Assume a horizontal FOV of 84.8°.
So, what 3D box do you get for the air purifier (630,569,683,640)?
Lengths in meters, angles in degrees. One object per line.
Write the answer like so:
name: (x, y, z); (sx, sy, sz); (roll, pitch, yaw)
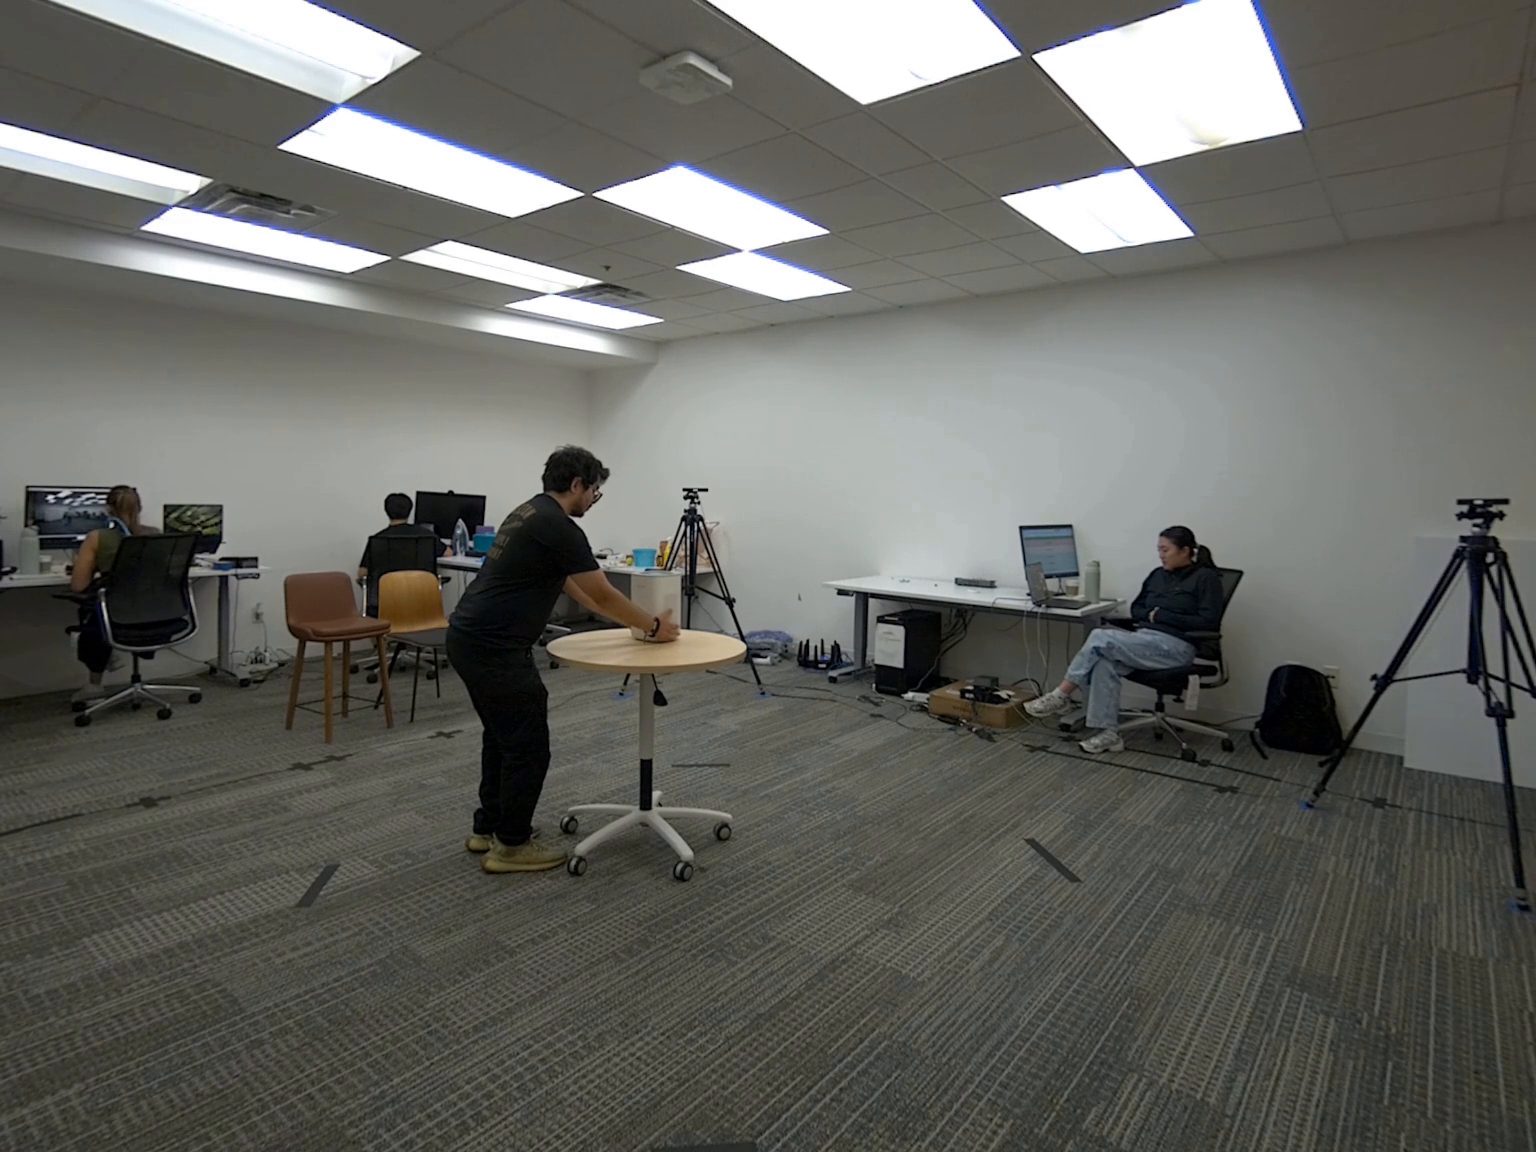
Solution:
air purifier: (-0.465, 0.118, 3.417); (0.176, 0.264, 0.167); (4, 5, 34)
